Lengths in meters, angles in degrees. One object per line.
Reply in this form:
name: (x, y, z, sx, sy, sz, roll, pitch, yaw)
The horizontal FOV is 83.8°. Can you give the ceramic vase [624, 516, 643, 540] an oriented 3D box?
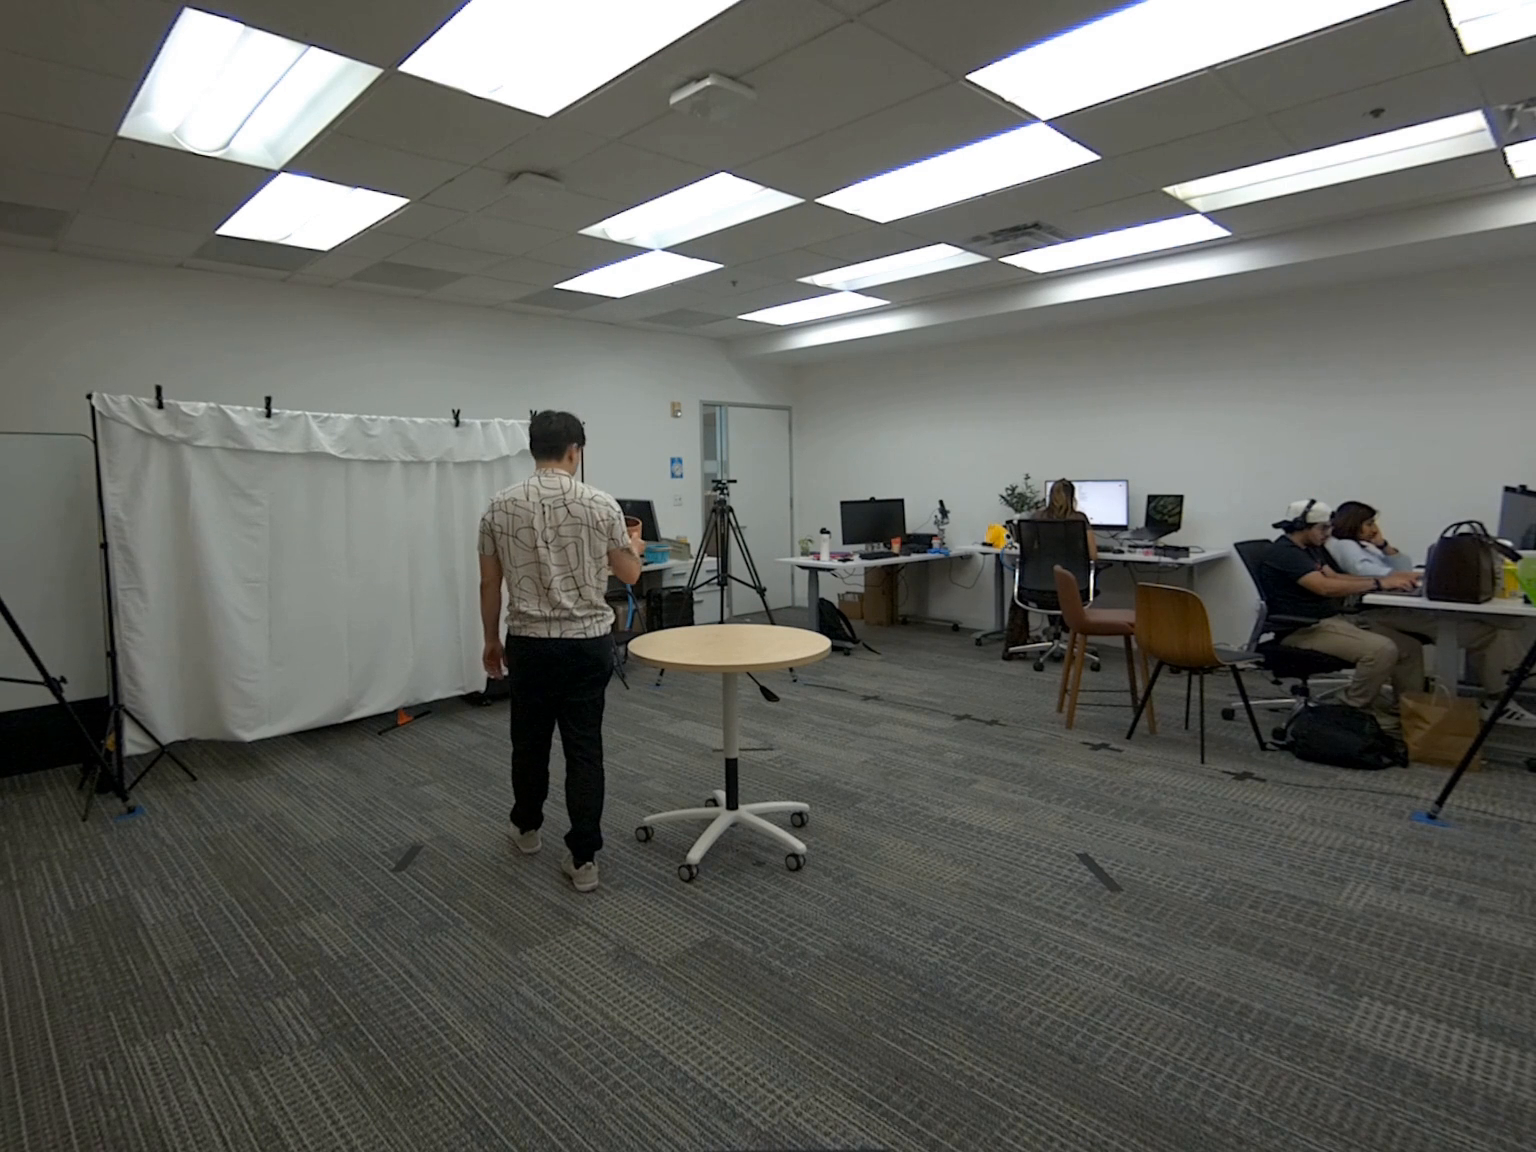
ceramic vase: (-0.598, -0.117, 3.482, 0.135, 0.216, 0.160, 8, 21, 4)
